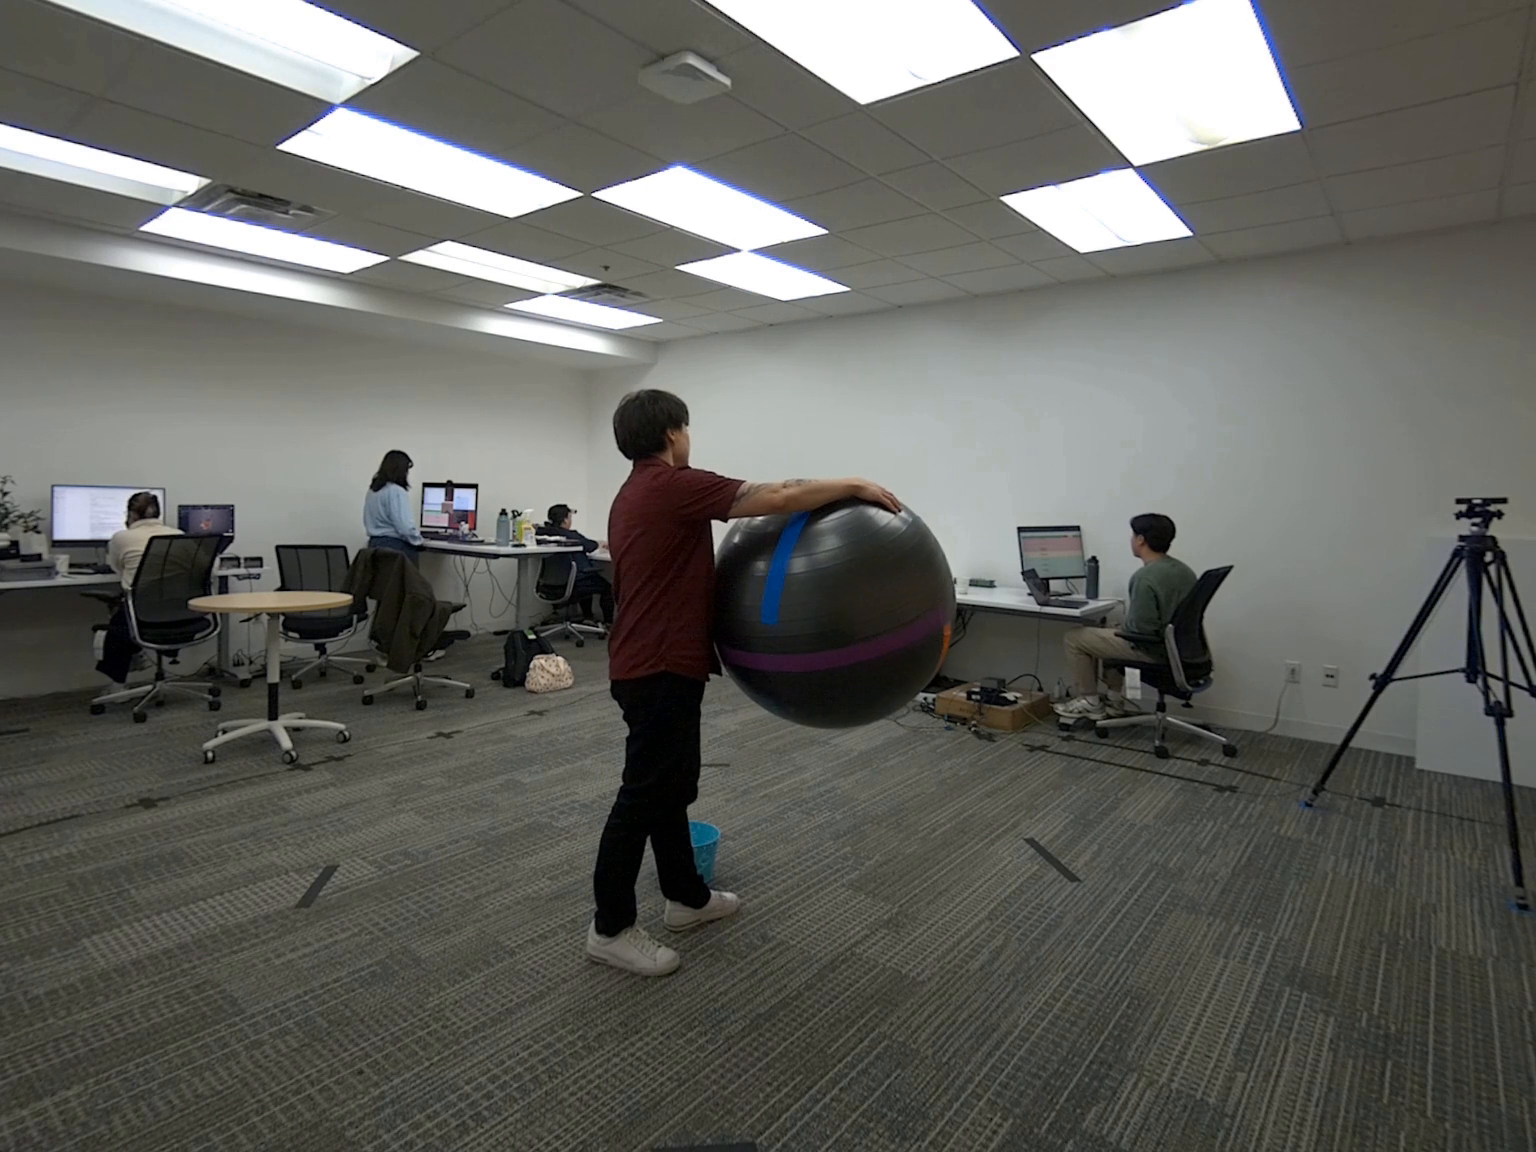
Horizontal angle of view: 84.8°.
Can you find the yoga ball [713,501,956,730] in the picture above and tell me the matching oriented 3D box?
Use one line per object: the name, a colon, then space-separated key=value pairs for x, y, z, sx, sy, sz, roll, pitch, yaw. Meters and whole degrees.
yoga ball: x=0.187 y=0.091 z=2.611 sx=0.757 sy=0.756 sz=0.761 roll=1 pitch=4 yaw=-2
